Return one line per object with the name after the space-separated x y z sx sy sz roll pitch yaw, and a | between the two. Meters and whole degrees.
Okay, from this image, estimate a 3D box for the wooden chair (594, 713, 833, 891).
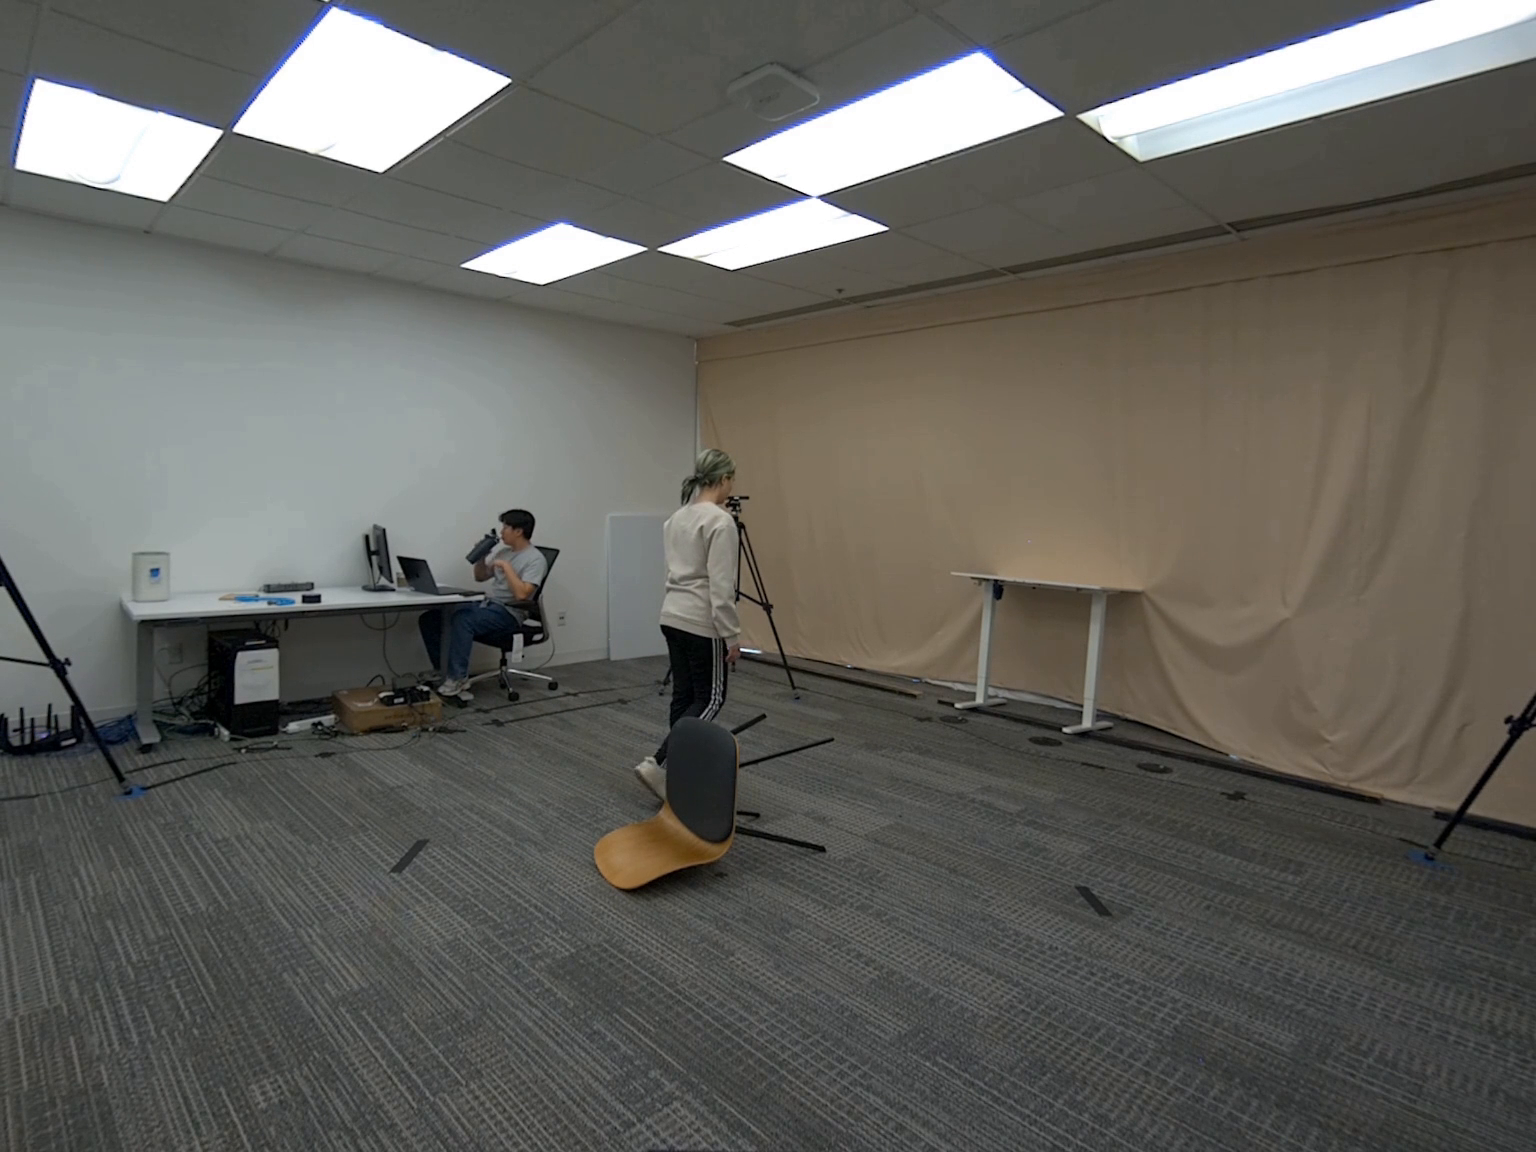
-0.235 0.829 3.263 0.859 0.521 0.490 -3 5 -36 | wooden chair
